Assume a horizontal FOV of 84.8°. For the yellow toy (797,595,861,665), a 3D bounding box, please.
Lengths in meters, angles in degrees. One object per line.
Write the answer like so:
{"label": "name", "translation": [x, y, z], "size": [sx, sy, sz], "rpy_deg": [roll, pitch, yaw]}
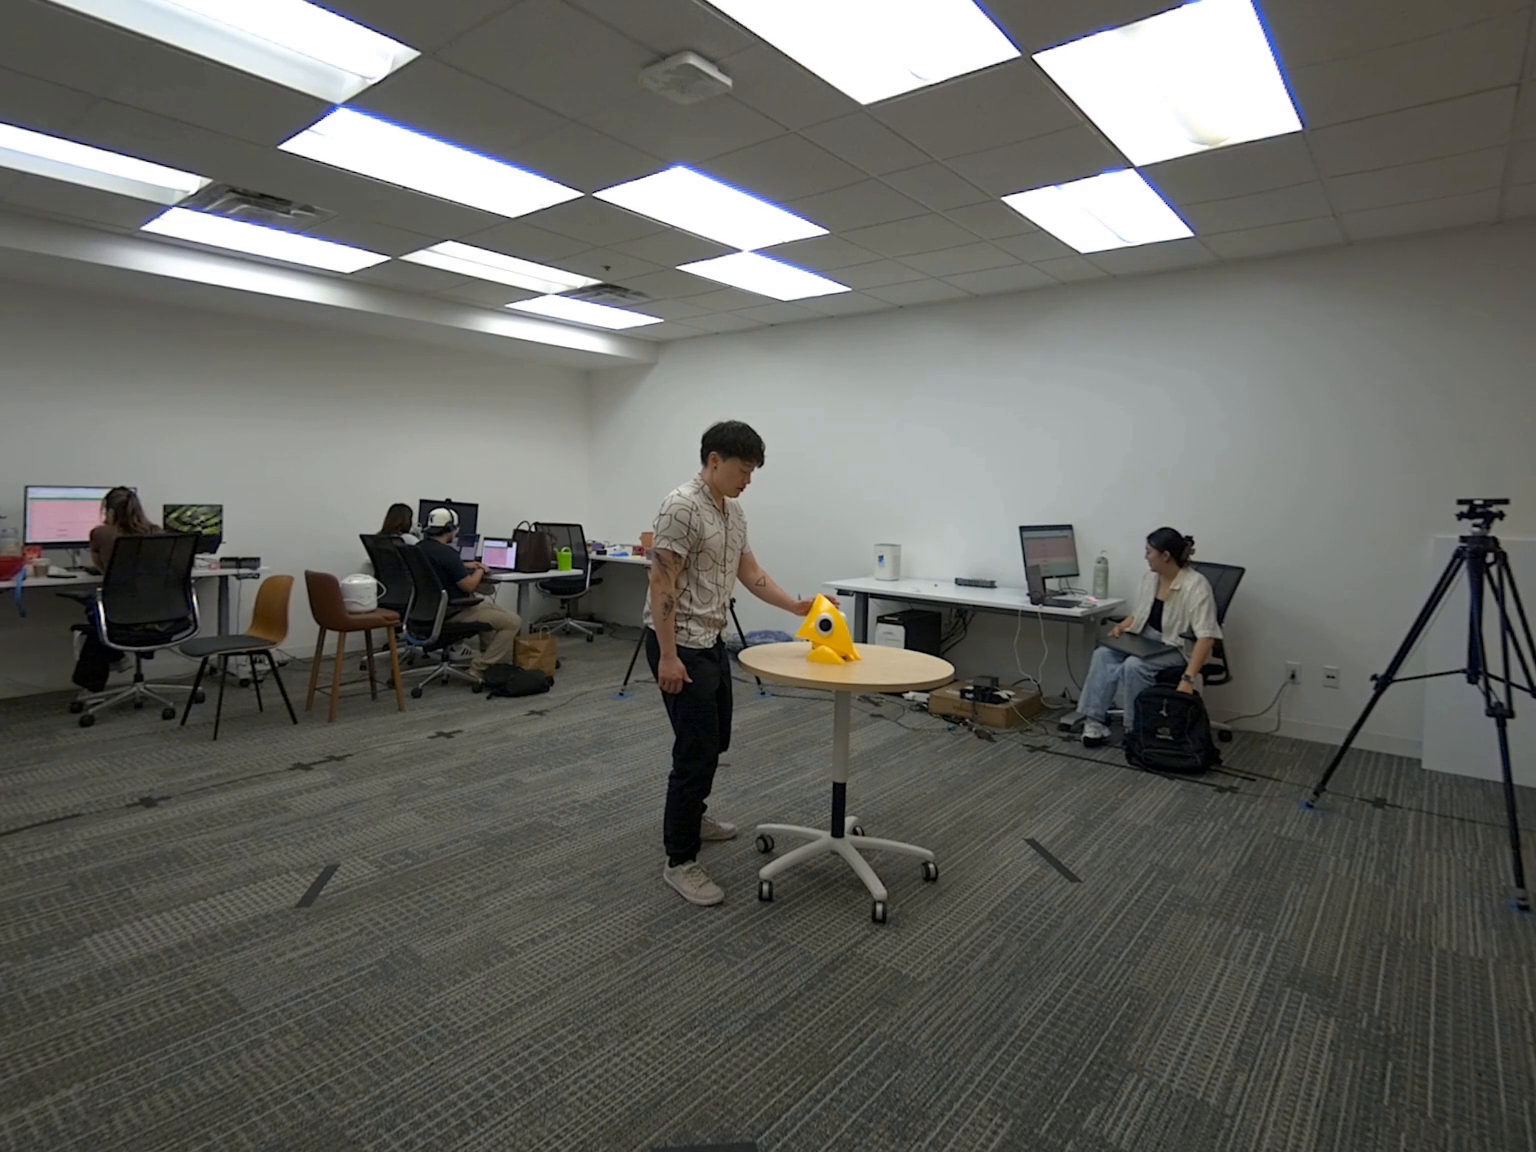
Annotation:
{"label": "yellow toy", "translation": [0.225, 0.186, 3.082], "size": [0.199, 0.230, 0.199], "rpy_deg": [5, 5, 37]}
